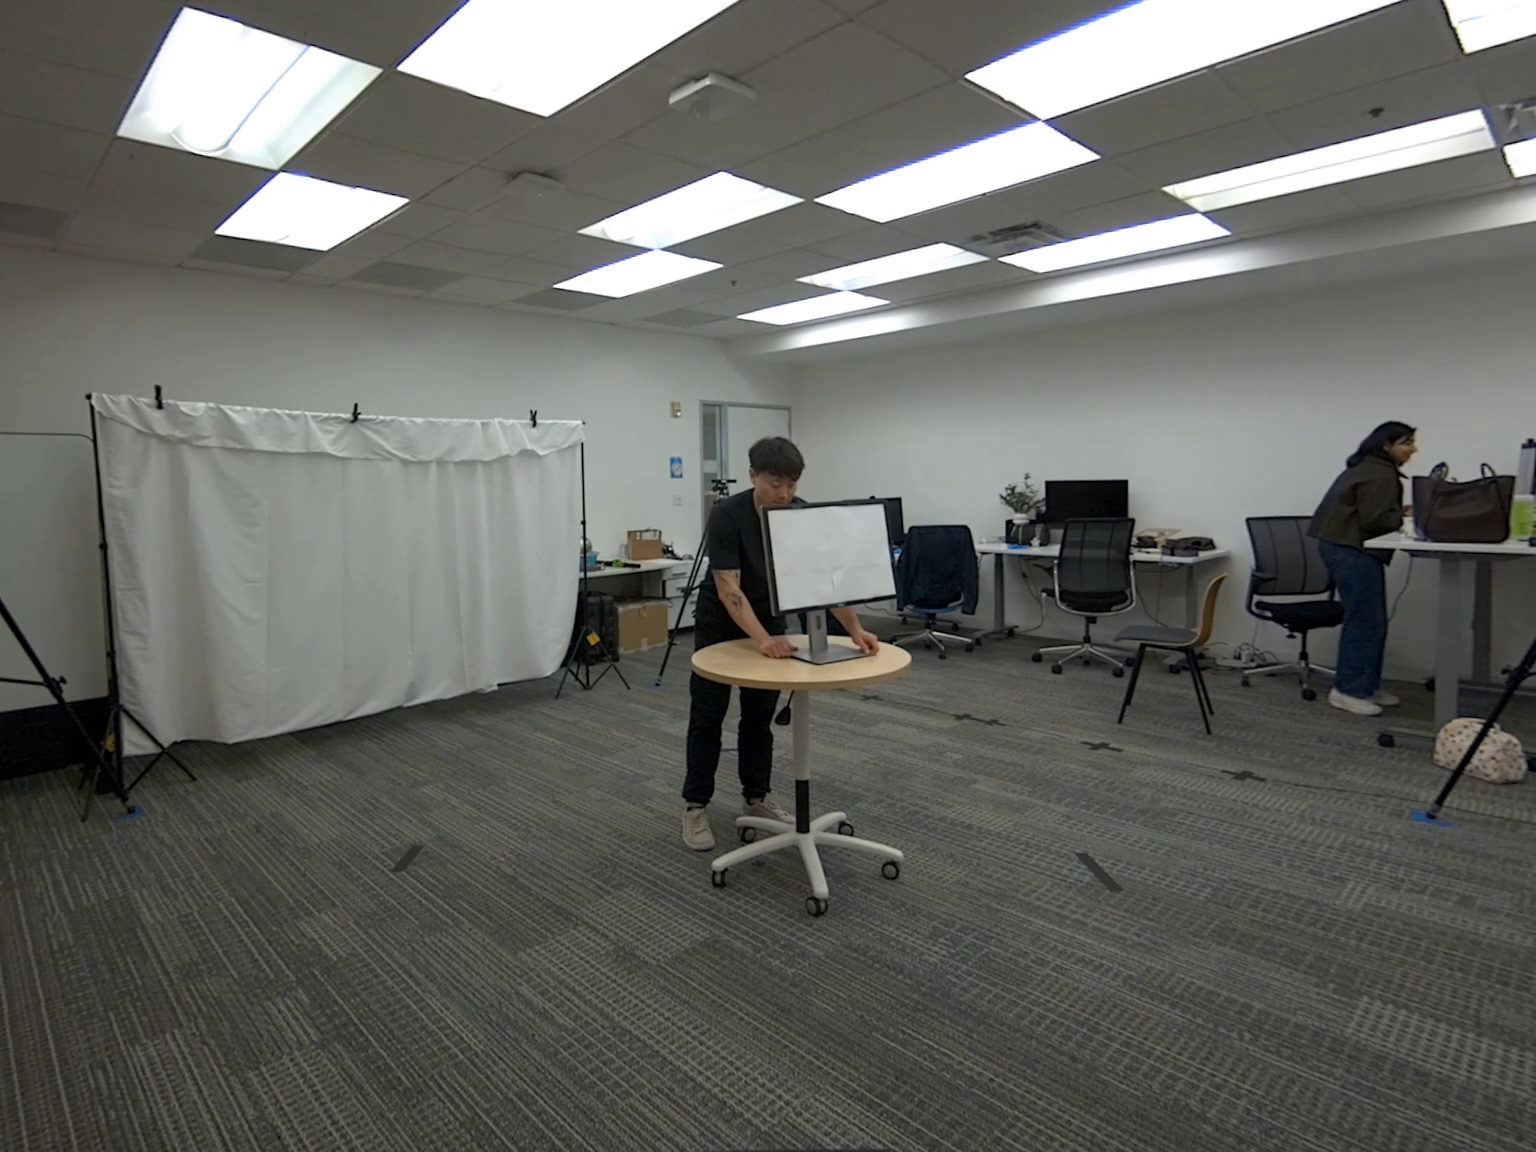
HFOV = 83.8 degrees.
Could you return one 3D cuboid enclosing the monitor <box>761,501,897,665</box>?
[{"bbox_3d":[0.204,0.014,2.981,0.526,0.520,0.193,-6,7,-36],"label":"monitor"}]
